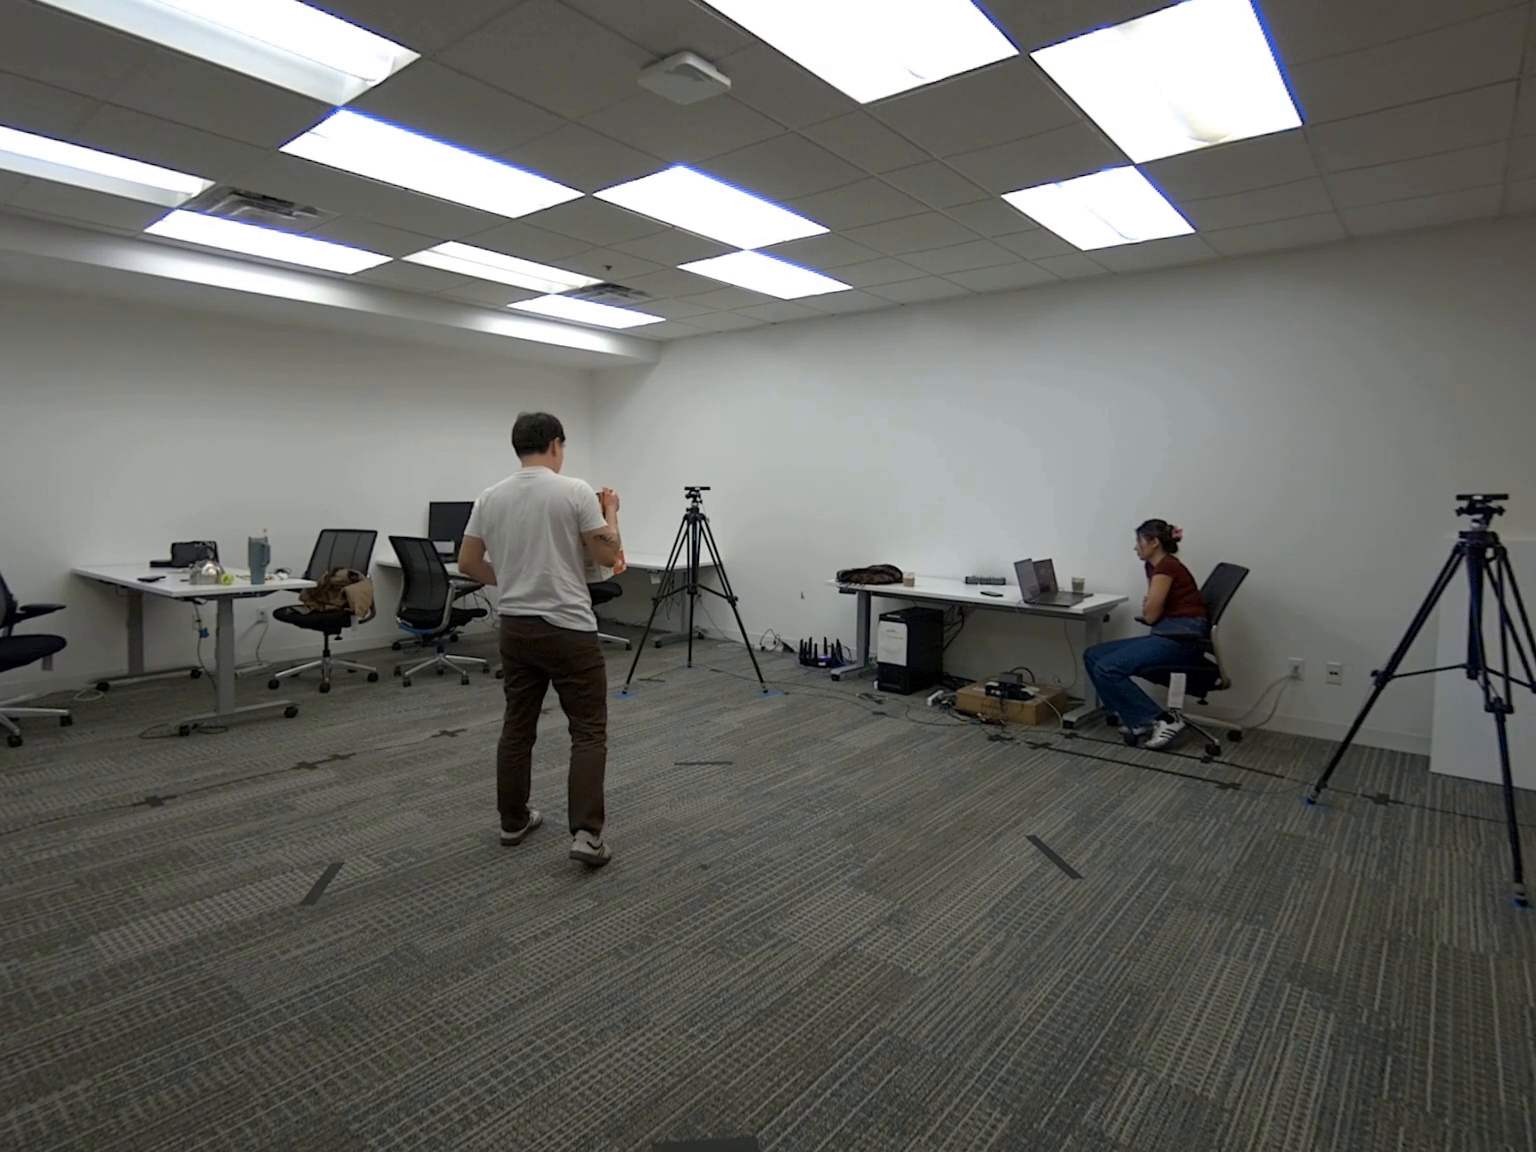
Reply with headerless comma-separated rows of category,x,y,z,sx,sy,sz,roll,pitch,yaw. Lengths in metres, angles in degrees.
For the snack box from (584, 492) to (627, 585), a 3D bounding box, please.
snack box,-0.825,-0.150,3.423,0.414,0.337,0.203,-5,9,23
